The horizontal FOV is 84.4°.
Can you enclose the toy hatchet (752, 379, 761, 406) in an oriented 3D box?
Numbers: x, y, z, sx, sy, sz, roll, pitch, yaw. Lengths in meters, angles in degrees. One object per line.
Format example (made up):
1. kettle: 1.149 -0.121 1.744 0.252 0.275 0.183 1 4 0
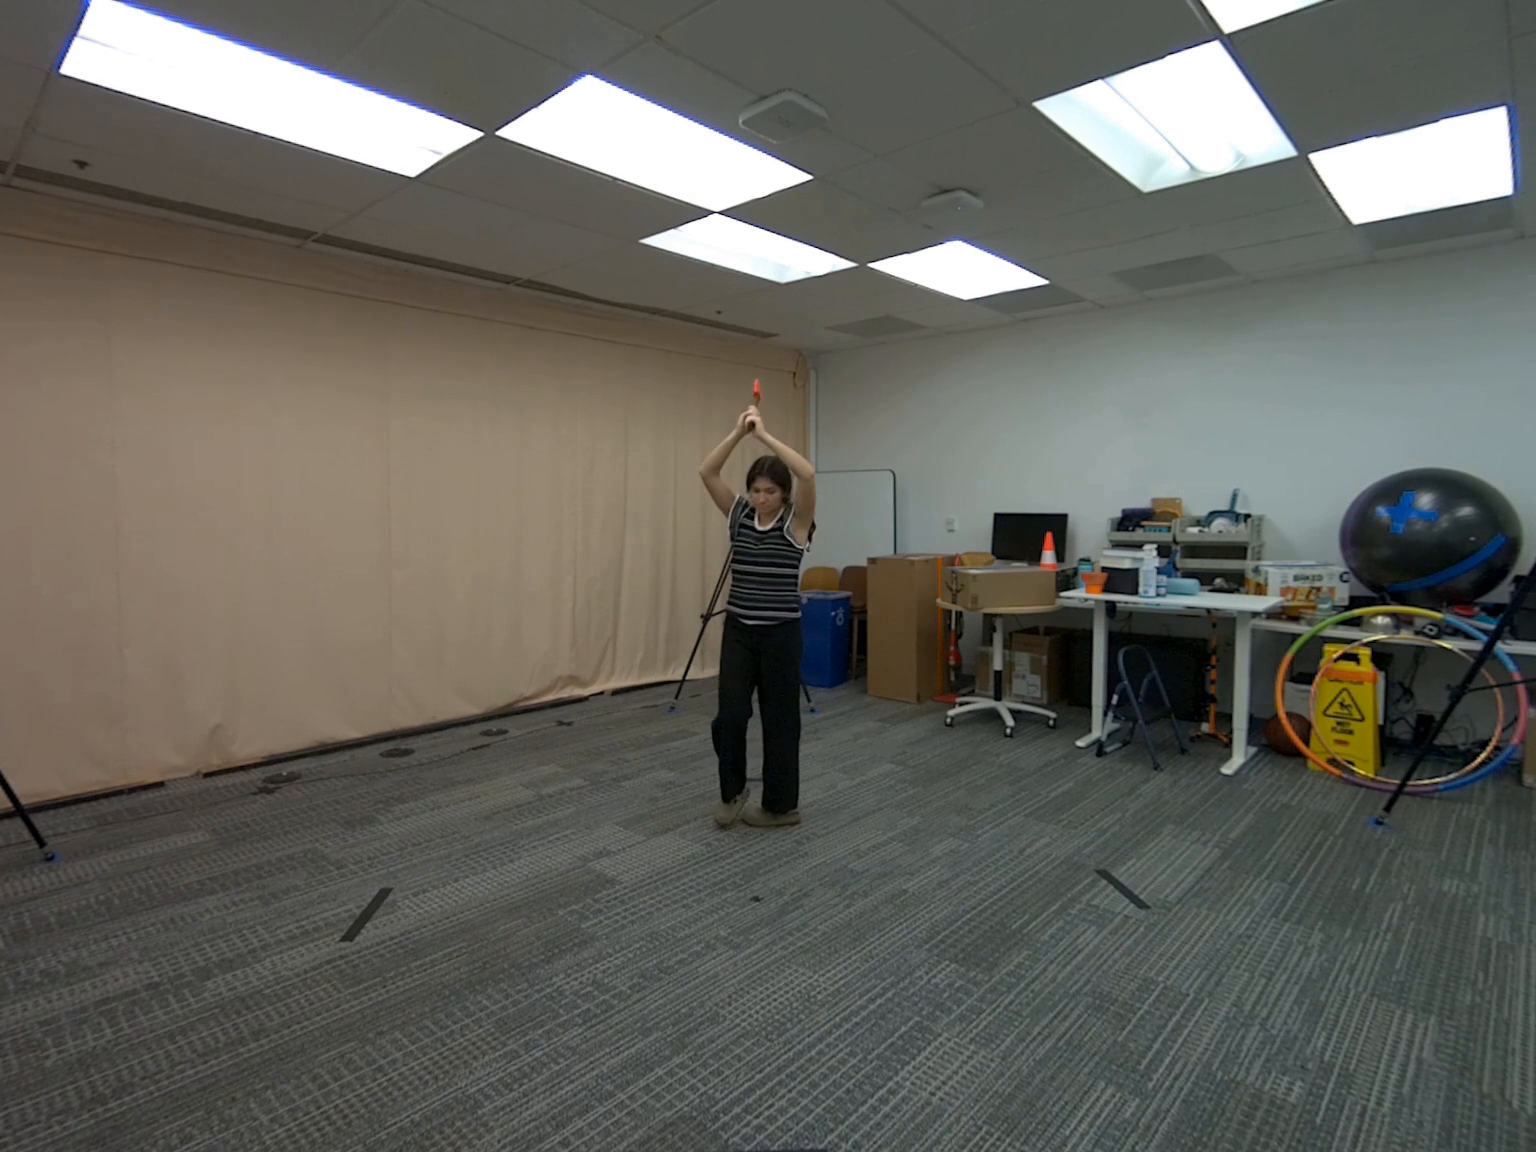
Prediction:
1. toy hatchet: -0.048 -0.701 3.404 0.029 0.129 0.274 5 34 -1
